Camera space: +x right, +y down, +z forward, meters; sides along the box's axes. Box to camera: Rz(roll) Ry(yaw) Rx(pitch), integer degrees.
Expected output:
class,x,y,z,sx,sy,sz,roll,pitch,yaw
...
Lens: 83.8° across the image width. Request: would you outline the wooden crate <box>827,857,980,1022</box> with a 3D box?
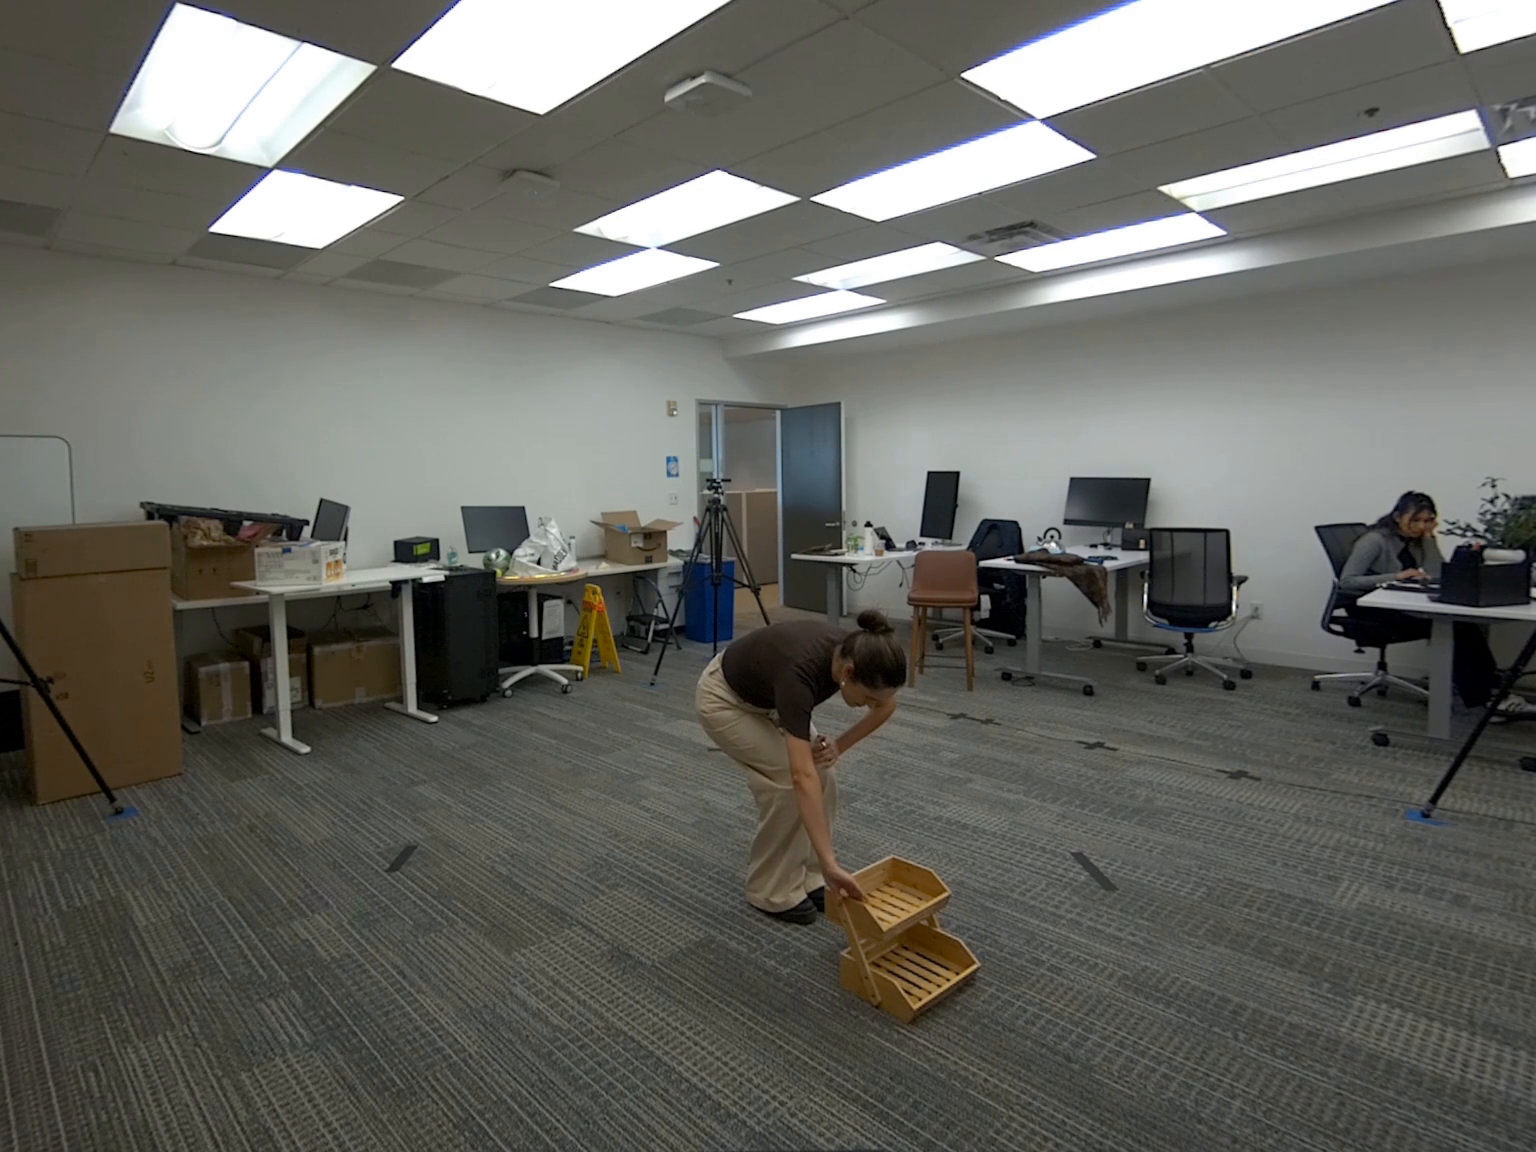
class,x,y,z,sx,sy,sz,roll,pitch,yaw
wooden crate,0.381,0.991,2.365,0.316,0.272,0.311,-6,6,-42
